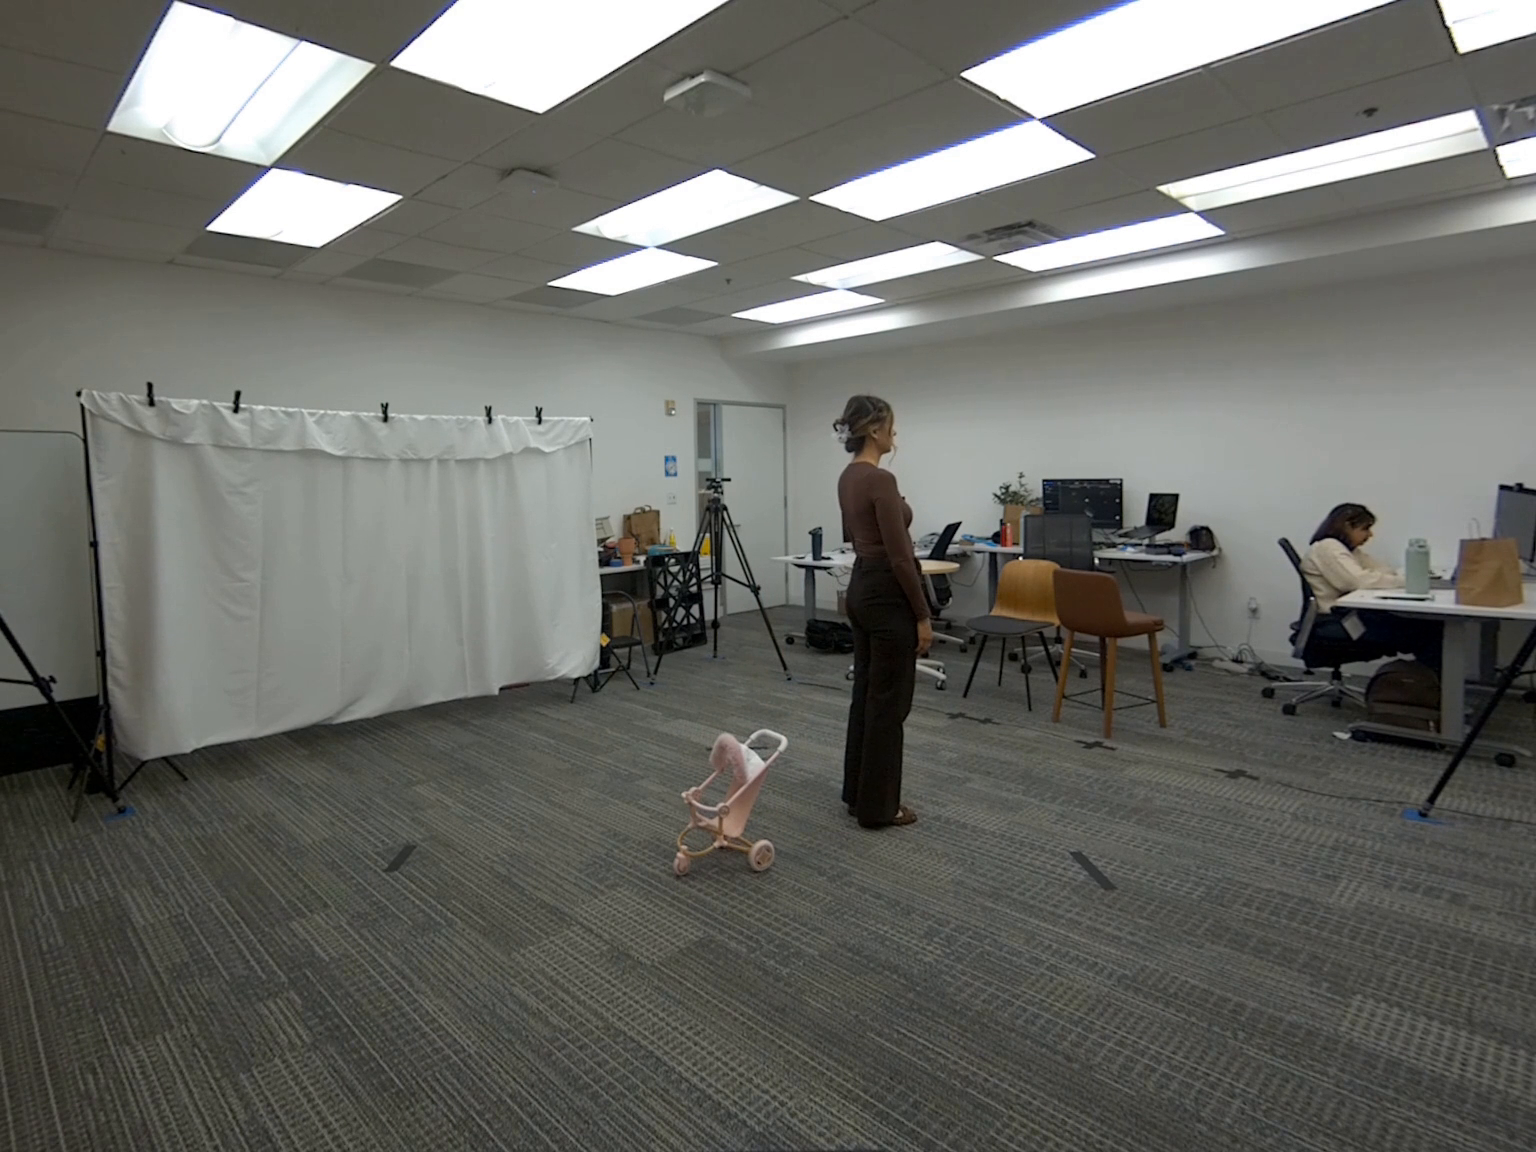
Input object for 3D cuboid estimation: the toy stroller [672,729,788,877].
[{"bbox_3d":[-0.150,0.816,3.101,0.331,0.536,0.289,14,-3,-29],"label":"toy stroller"}]
